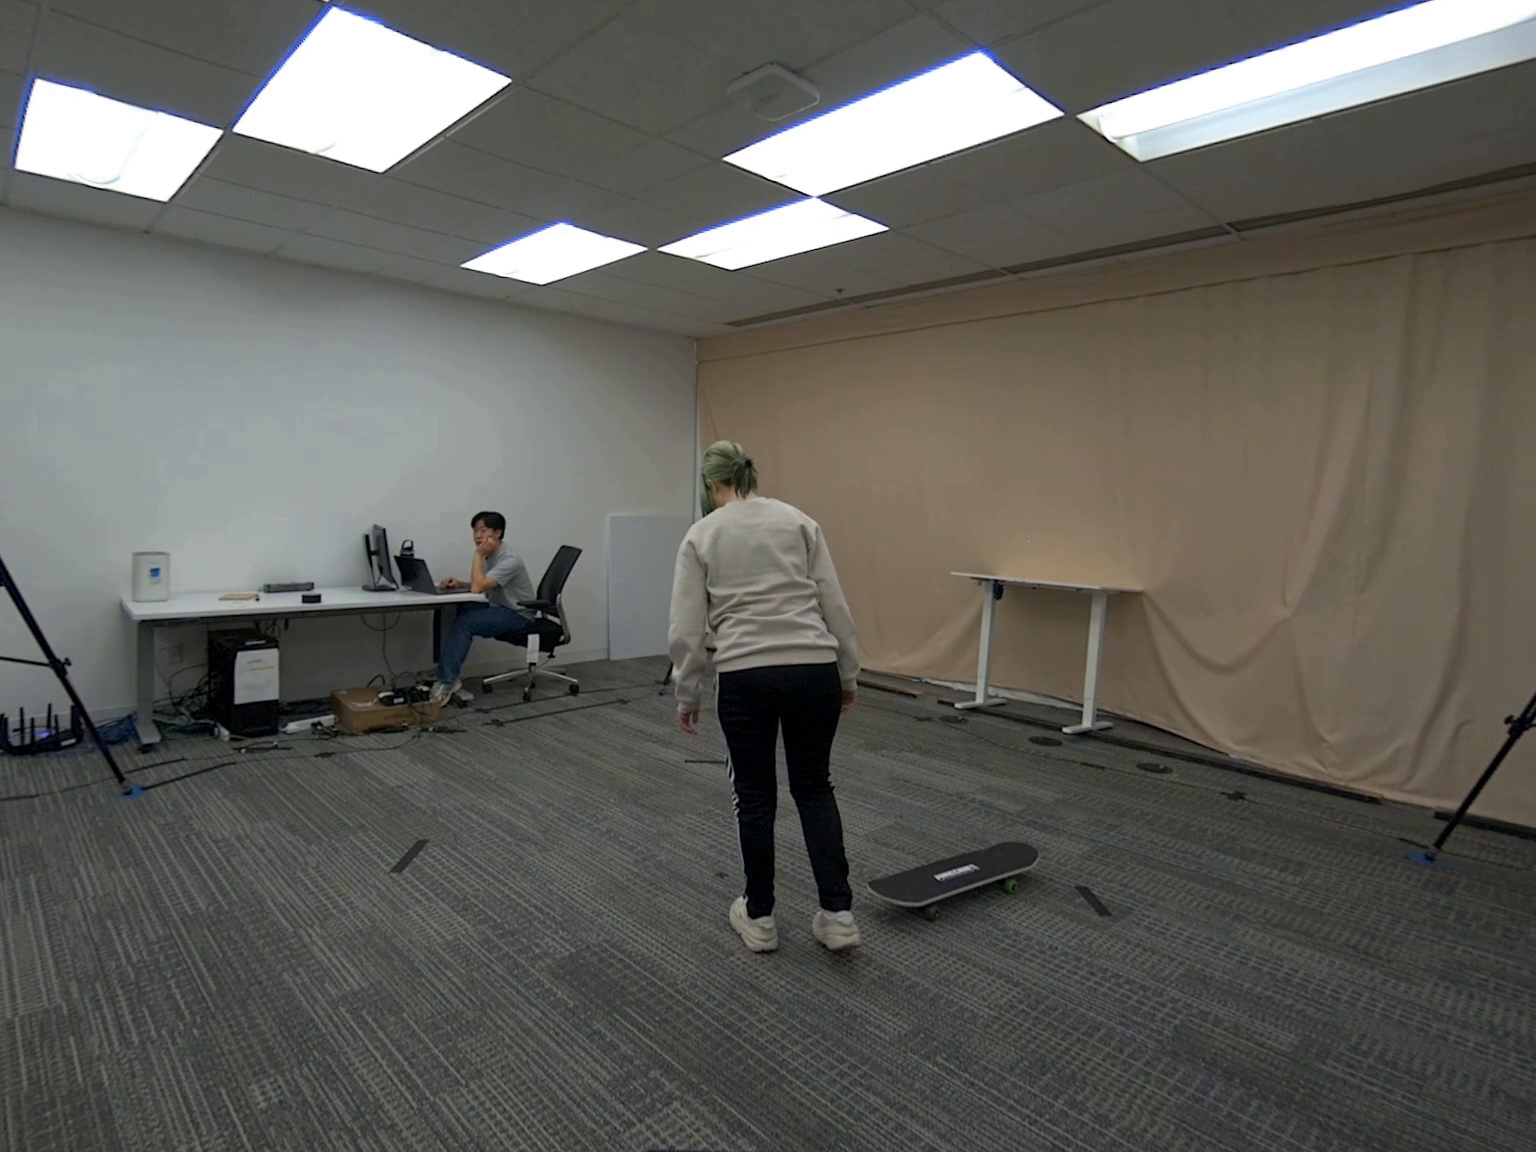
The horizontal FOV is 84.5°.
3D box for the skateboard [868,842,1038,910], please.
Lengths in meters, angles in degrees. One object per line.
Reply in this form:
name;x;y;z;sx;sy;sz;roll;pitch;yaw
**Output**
skateboard;0.665;1.083;2.976;0.769;0.110;0.198;-2;6;-33
